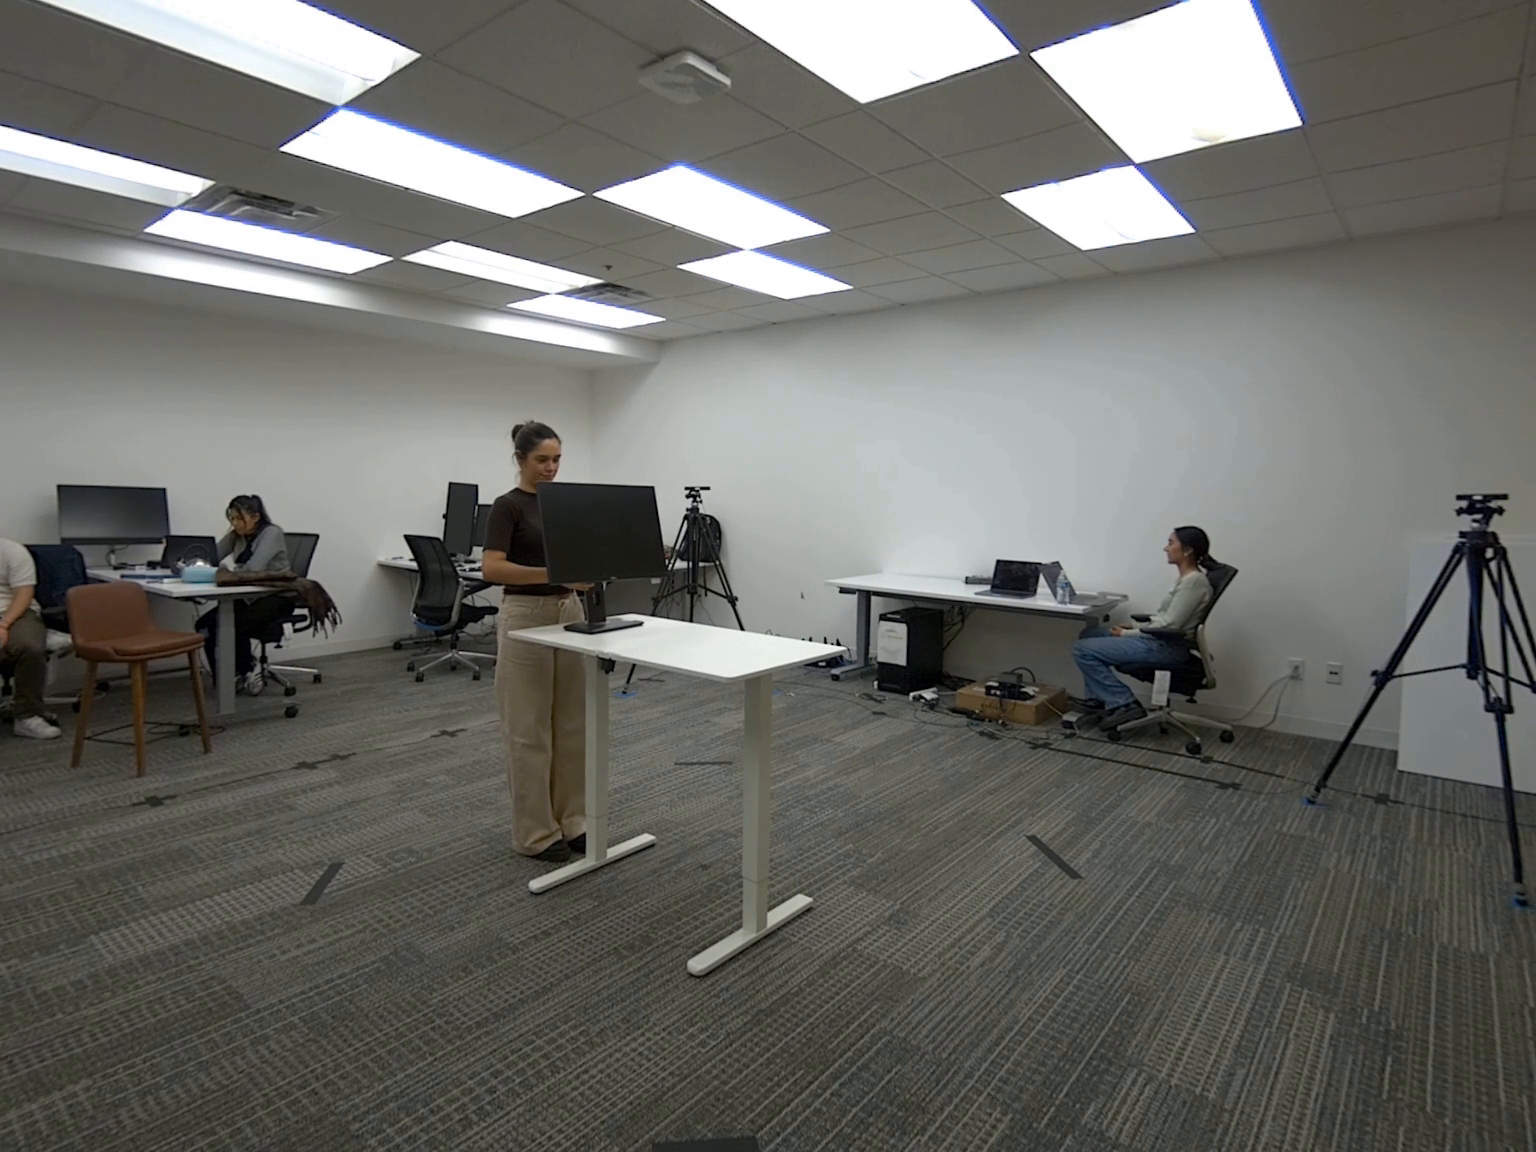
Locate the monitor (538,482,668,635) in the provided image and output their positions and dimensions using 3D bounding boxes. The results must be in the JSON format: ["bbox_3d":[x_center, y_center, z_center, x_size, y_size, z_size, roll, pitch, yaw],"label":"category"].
[{"bbox_3d":[-0.614,-0.069,3.038,0.193,0.522,0.523,1,2,39],"label":"monitor"}]
